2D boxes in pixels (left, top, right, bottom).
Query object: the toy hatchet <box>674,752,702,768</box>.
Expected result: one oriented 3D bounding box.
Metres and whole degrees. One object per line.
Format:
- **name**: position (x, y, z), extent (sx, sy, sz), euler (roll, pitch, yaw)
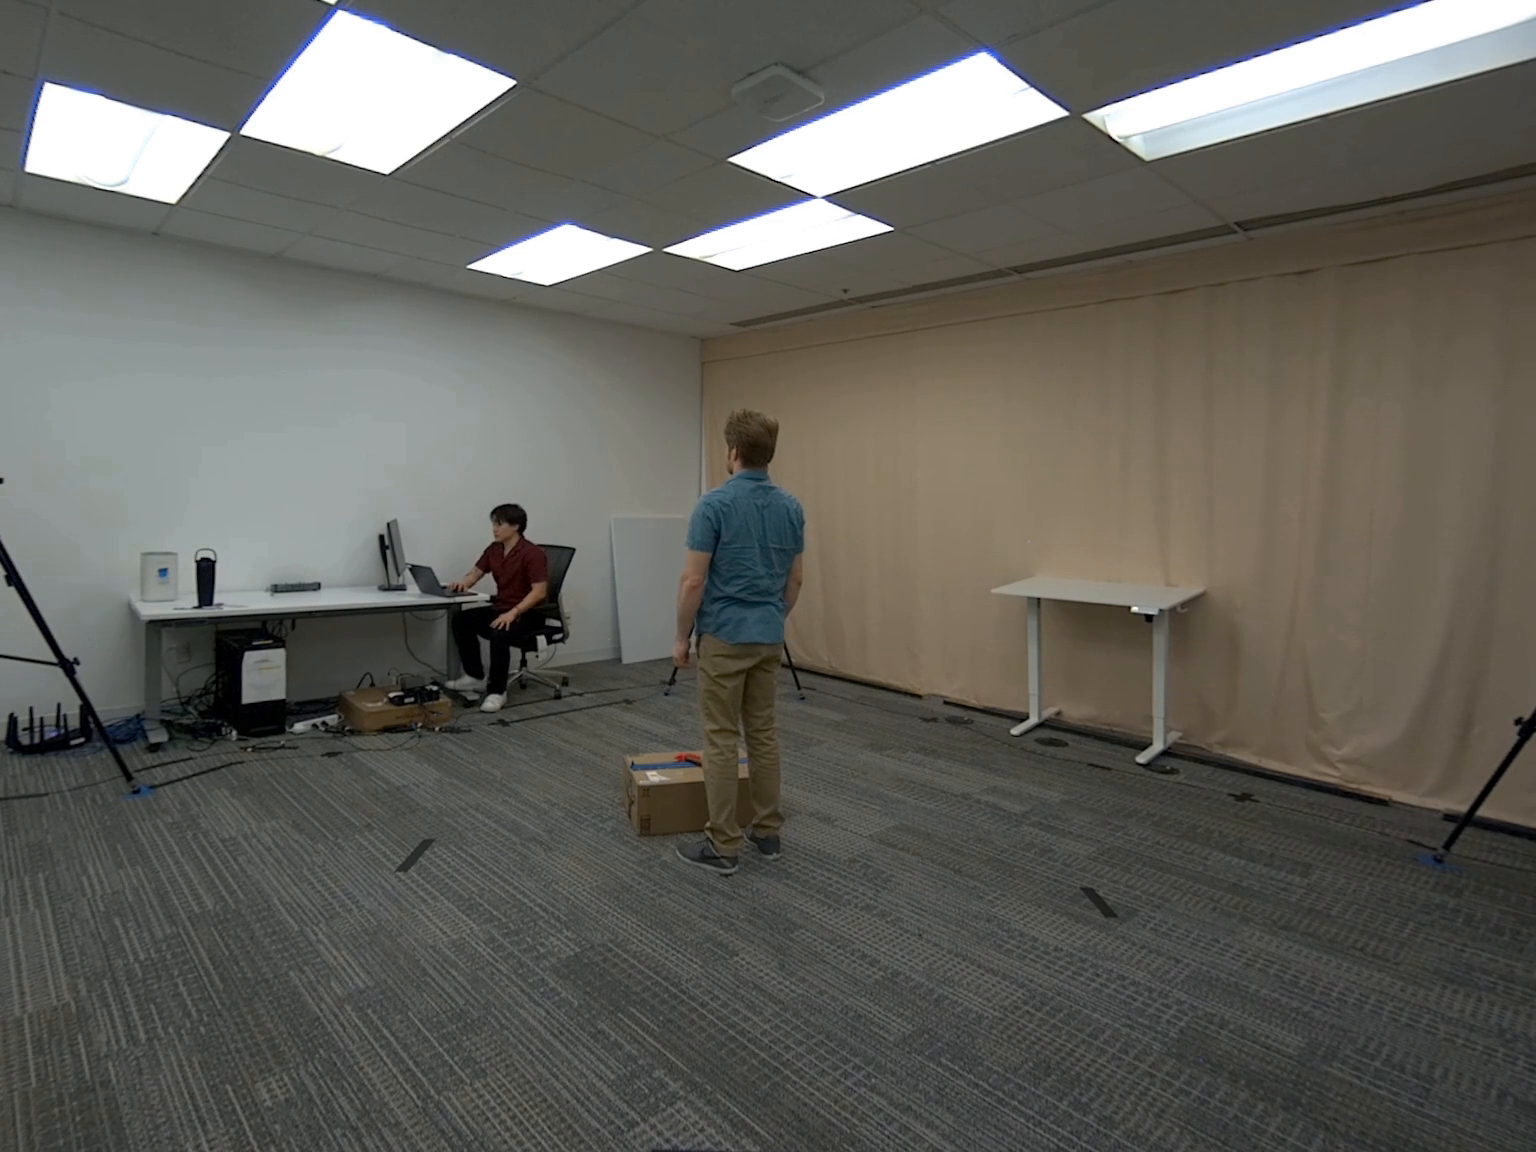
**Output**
- **toy hatchet**: position (-0.281, 0.813, 3.704), extent (0.275, 0.029, 0.128), euler (7, 2, 23)
